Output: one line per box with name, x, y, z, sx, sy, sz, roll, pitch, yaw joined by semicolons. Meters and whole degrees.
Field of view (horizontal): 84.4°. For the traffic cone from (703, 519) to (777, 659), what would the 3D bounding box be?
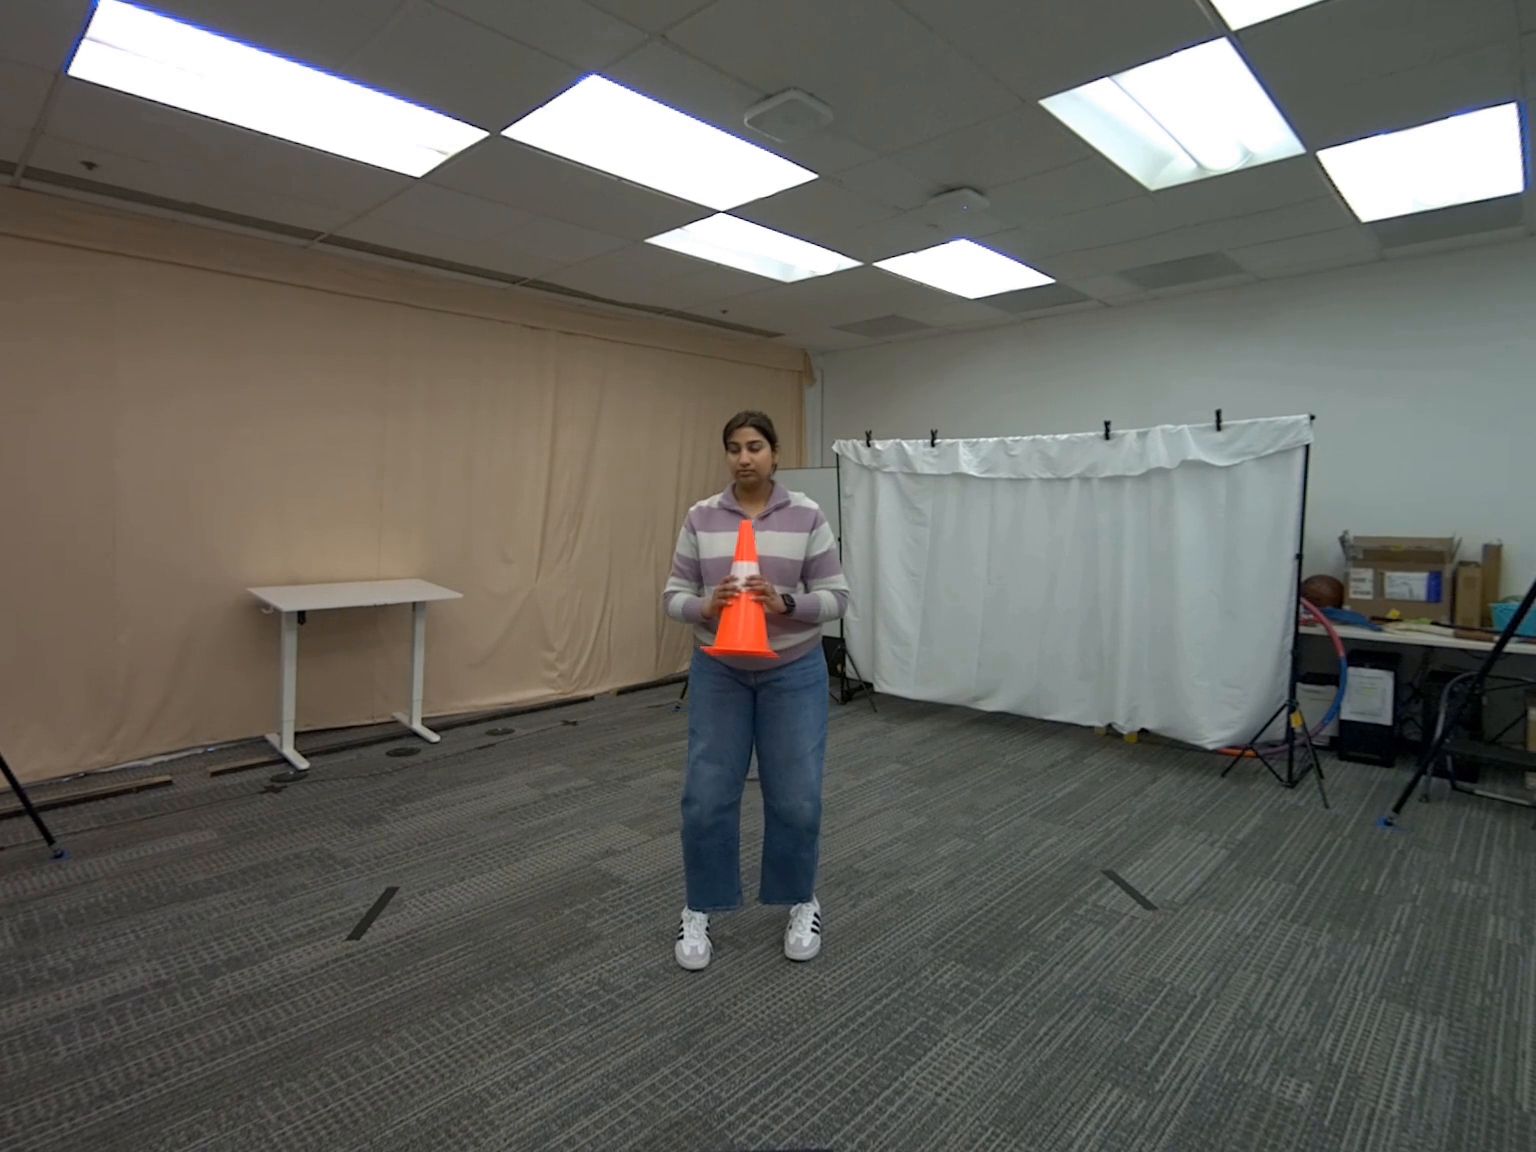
traffic cone;-0.072;0.032;2.413;0.207;0.386;0.200;-2;-11;9
